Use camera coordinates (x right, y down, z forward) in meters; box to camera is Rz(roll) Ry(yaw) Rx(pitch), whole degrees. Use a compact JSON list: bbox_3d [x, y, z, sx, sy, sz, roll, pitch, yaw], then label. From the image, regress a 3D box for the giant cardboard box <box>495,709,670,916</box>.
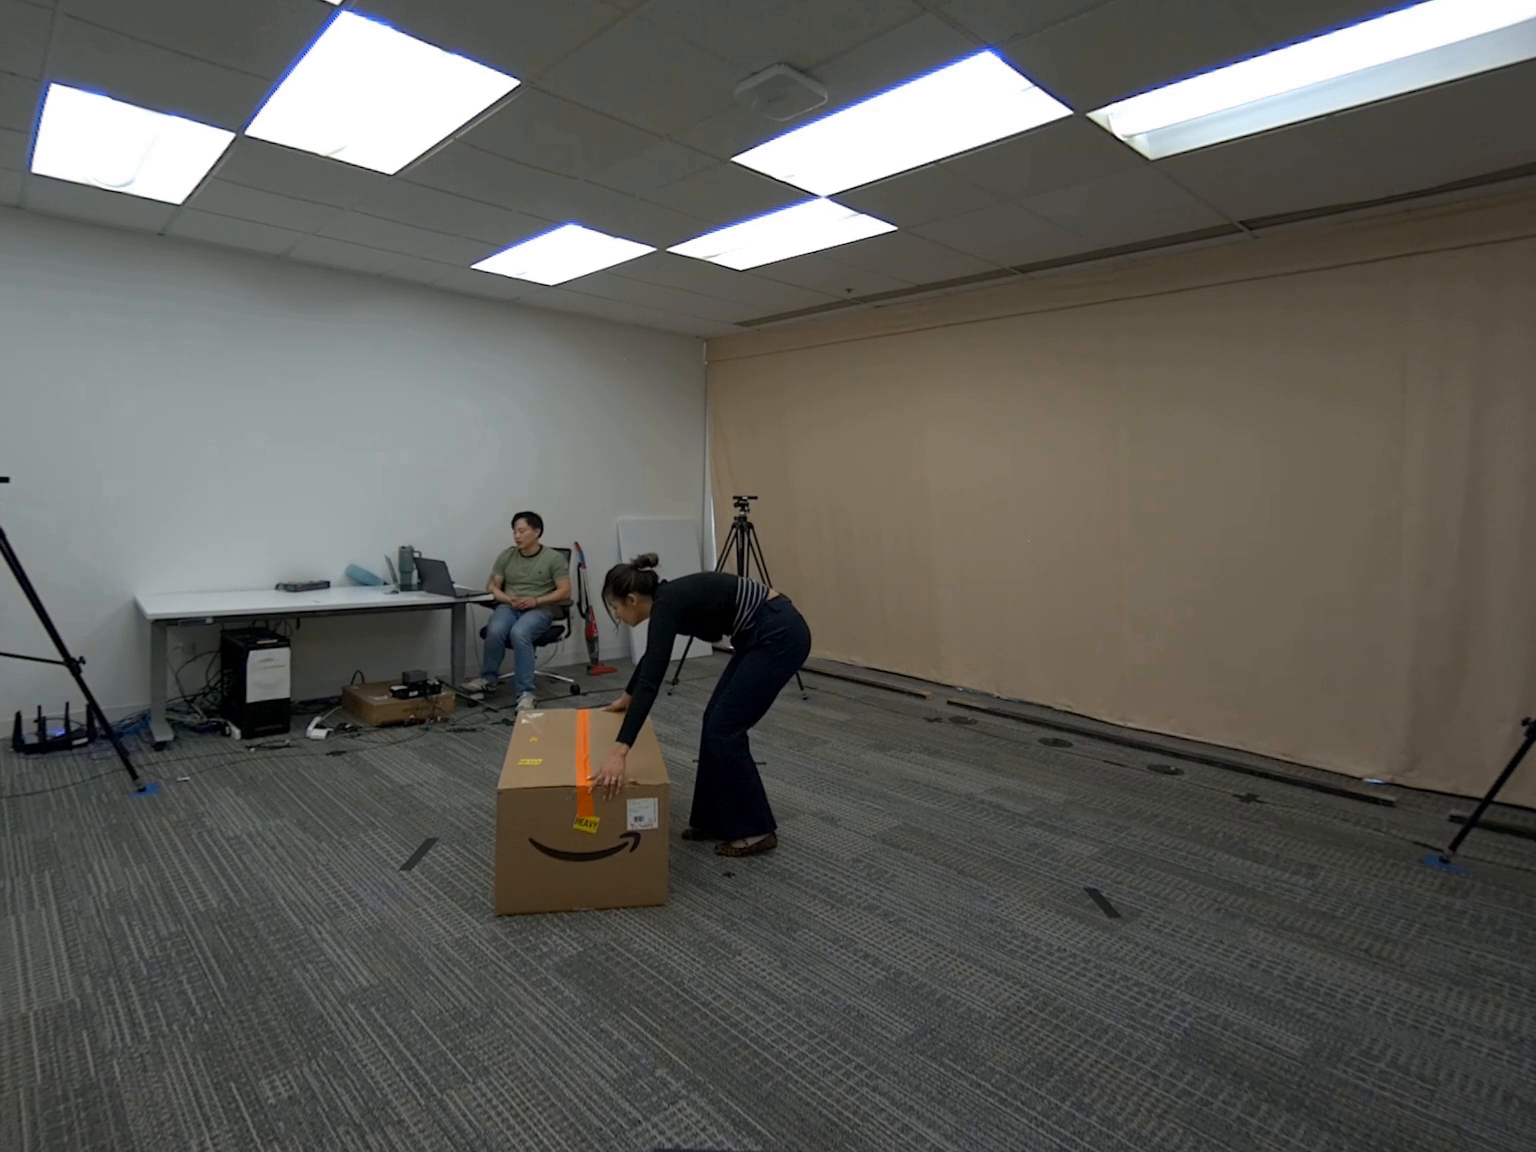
[{"bbox_3d":[-0.725,0.854,3.294,0.572,0.425,1.038,0,5,-12],"label":"giant cardboard box"}]
